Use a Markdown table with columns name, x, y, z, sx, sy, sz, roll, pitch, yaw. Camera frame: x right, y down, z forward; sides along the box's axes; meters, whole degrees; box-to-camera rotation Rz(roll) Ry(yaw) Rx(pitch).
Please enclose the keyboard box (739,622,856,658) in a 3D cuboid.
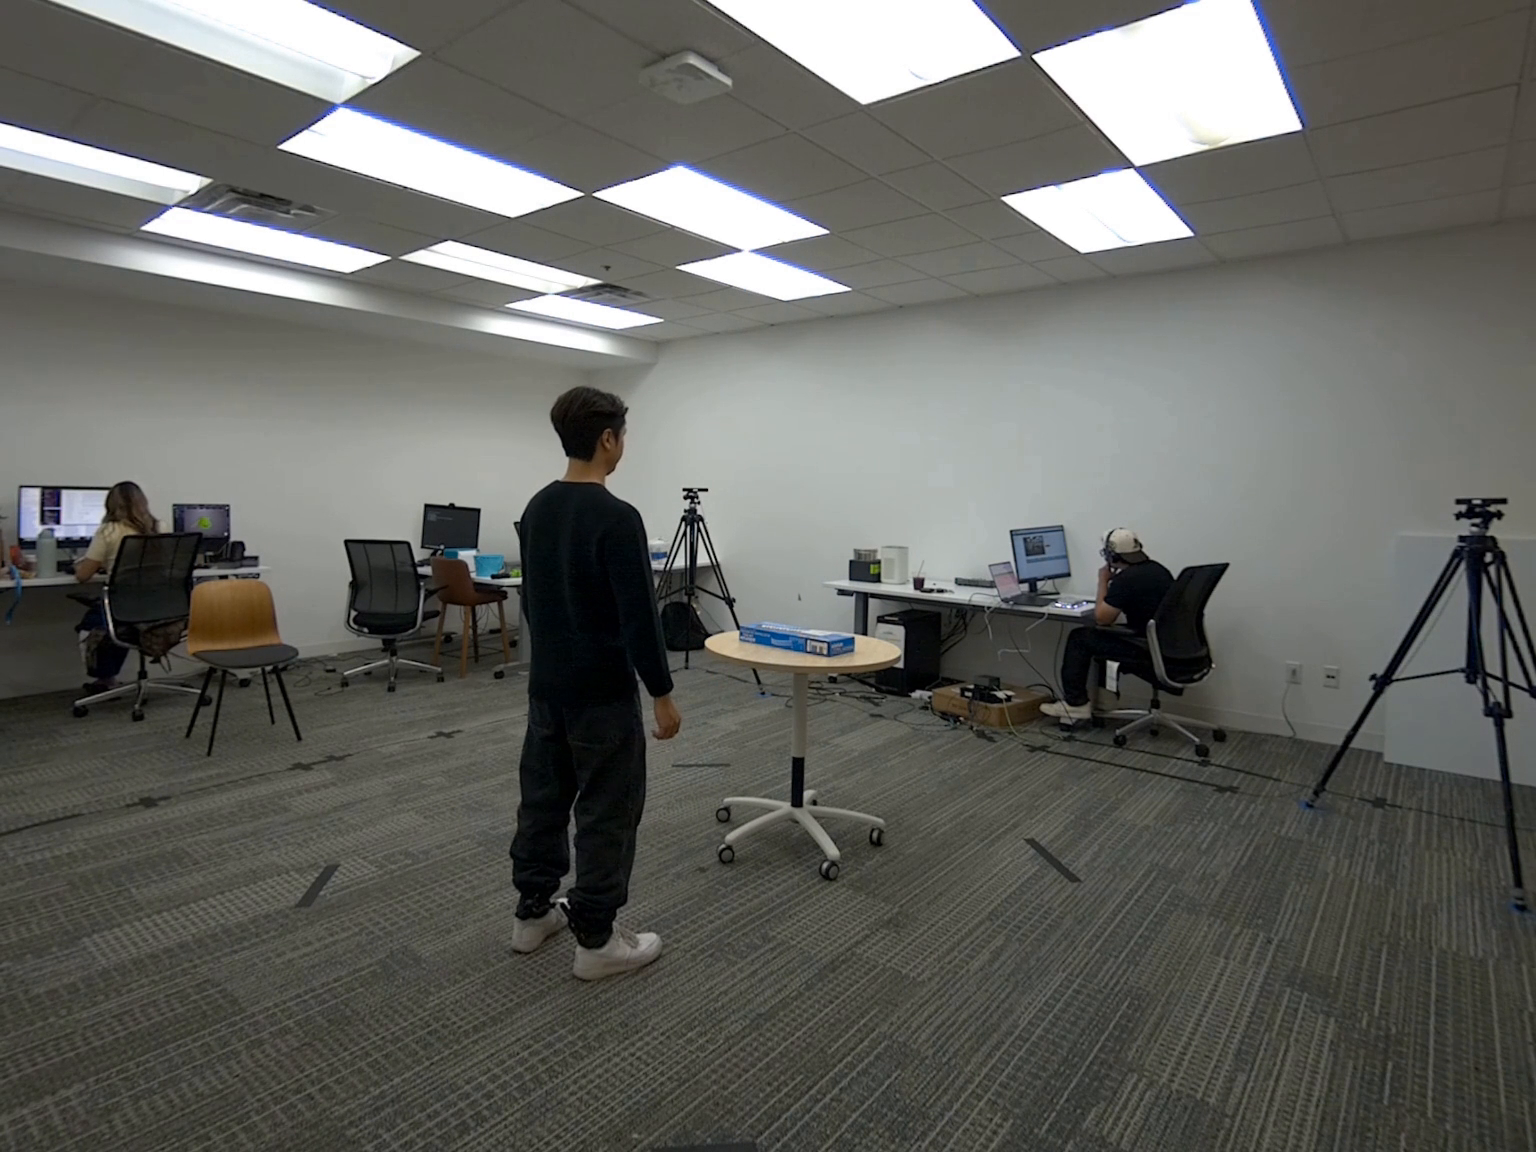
| name | x | y | z | sx | sy | sz | roll | pitch | yaw |
| --- | --- | --- | --- | --- | --- | --- | --- | --- | --- |
| keyboard box | 0.099 | 0.241 | 3.328 | 0.452 | 0.059 | 0.171 | 7 | 8 | 40 |
